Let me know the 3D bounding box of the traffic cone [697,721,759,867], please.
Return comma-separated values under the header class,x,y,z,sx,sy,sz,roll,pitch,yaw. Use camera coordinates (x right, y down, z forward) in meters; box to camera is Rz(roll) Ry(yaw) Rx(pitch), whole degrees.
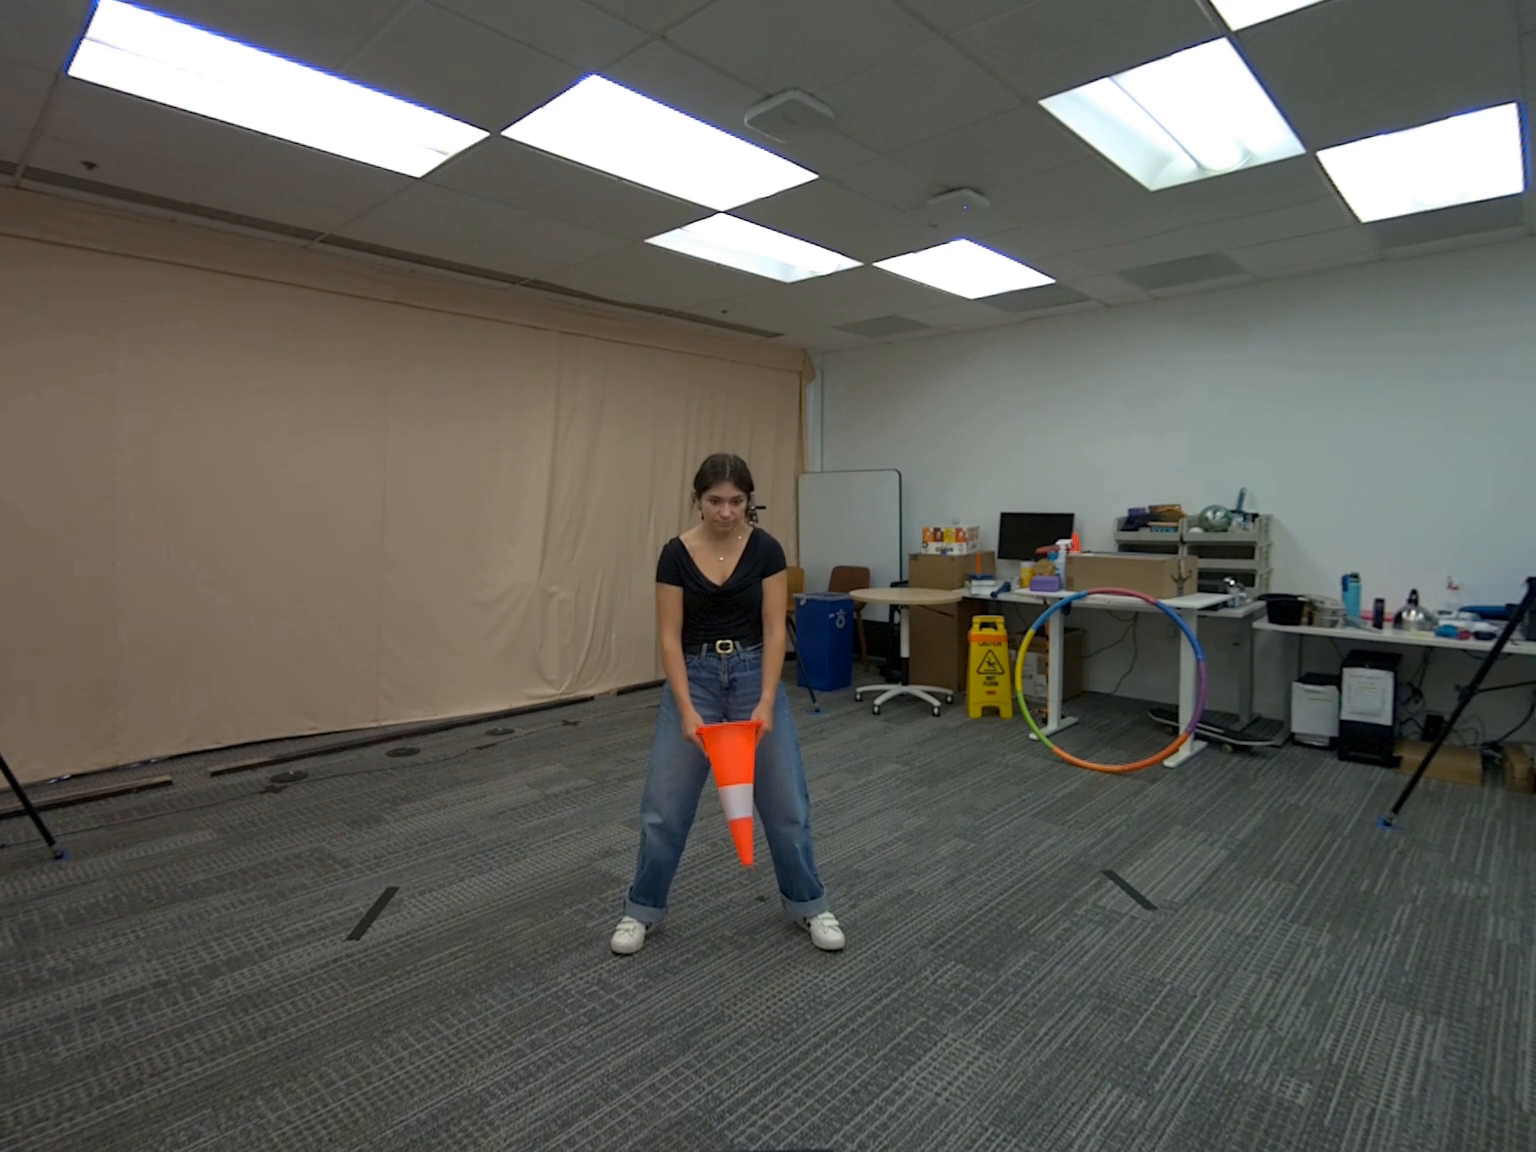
class,x,y,z,sx,sy,sz,roll,pitch,yaw
traffic cone,-0.083,0.634,2.399,0.203,0.391,0.201,-11,-23,-1
